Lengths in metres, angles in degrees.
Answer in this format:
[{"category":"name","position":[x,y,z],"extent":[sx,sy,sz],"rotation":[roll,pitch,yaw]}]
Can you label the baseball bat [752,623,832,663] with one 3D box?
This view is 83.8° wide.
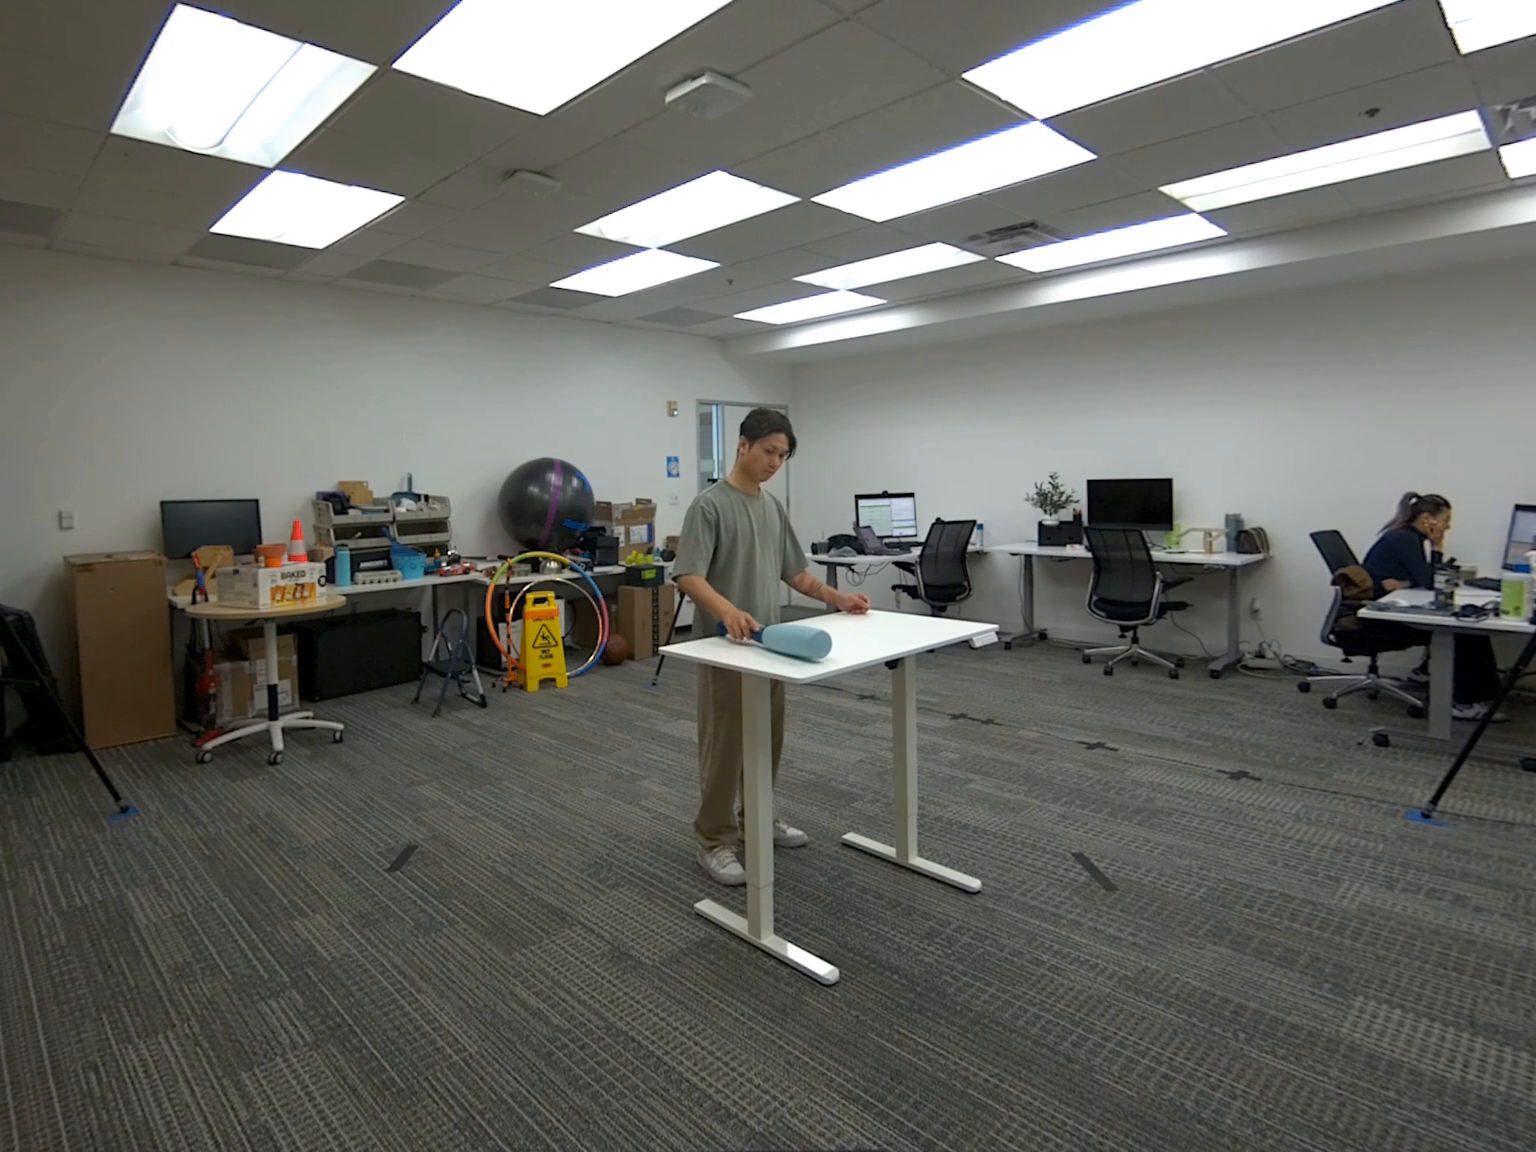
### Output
[{"category":"baseball bat","position":[-0.008,0.190,2.600],"extent":[0.087,0.089,0.557],"rotation":[-4,3,-32]}]
